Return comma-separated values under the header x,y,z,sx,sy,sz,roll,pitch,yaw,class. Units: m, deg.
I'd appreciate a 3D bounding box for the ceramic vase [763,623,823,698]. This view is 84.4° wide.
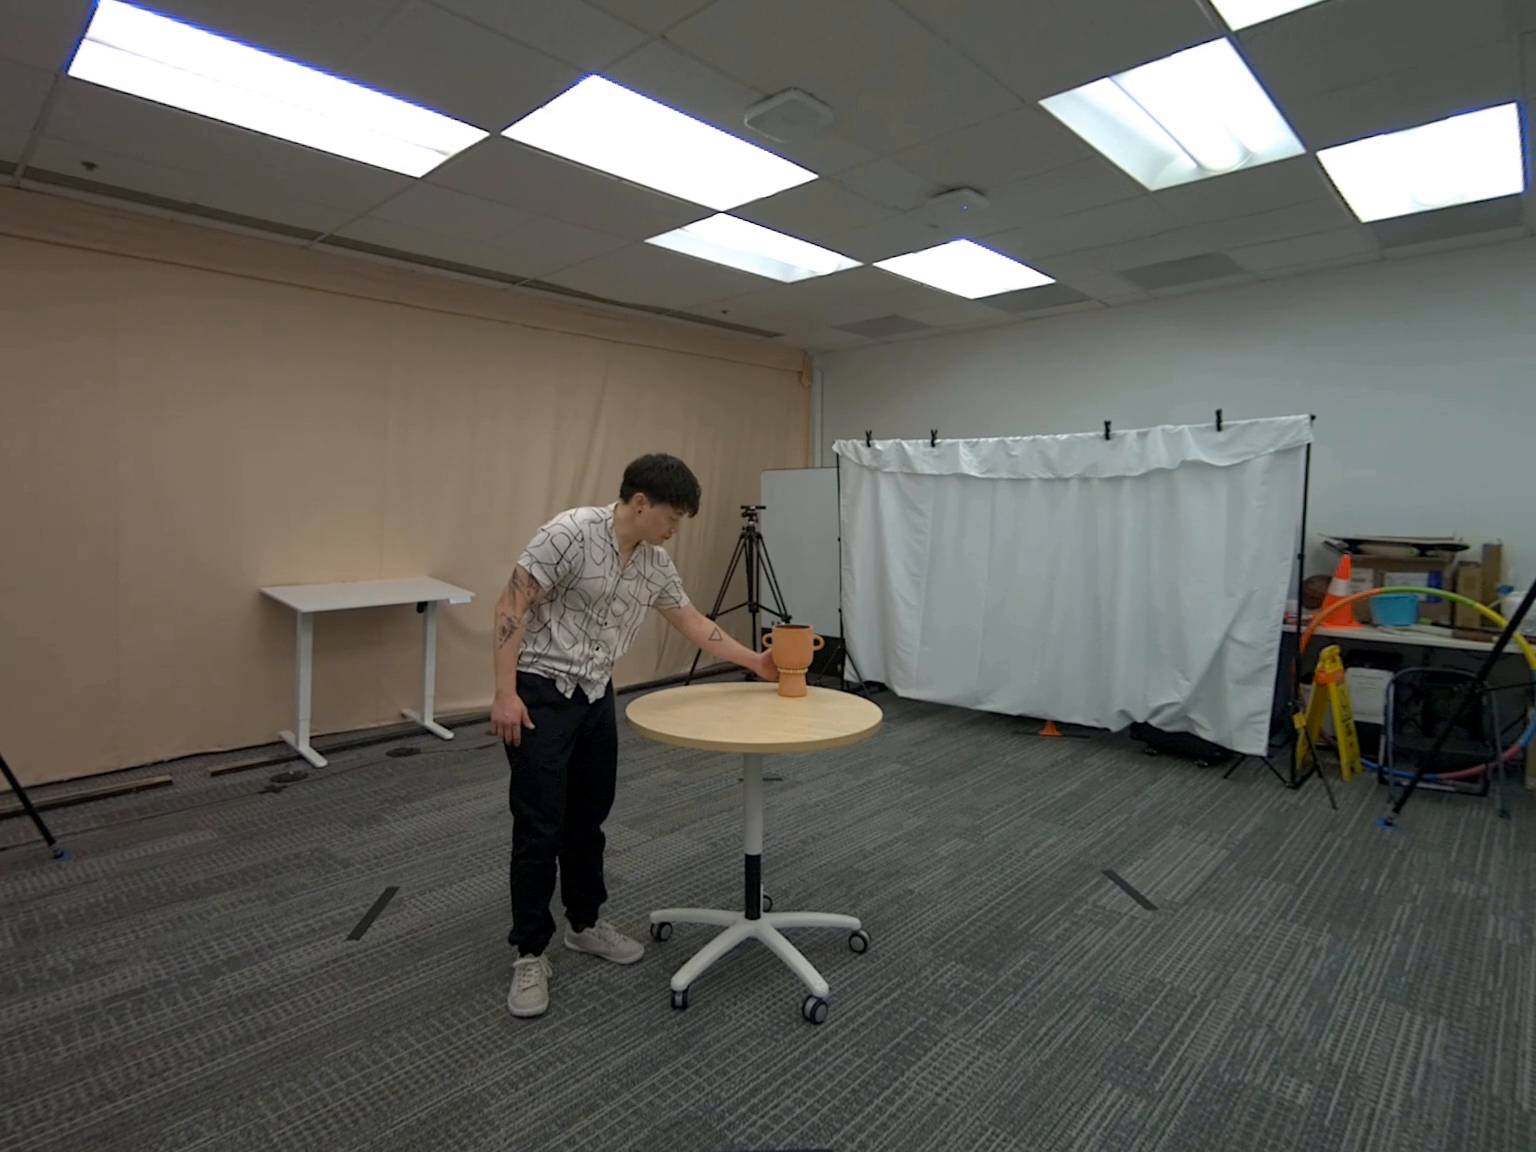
x,y,z,sx,sy,sz,roll,pitch,yaw,class
0.084,0.274,2.724,0.130,0.219,0.164,-1,3,-43,ceramic vase
